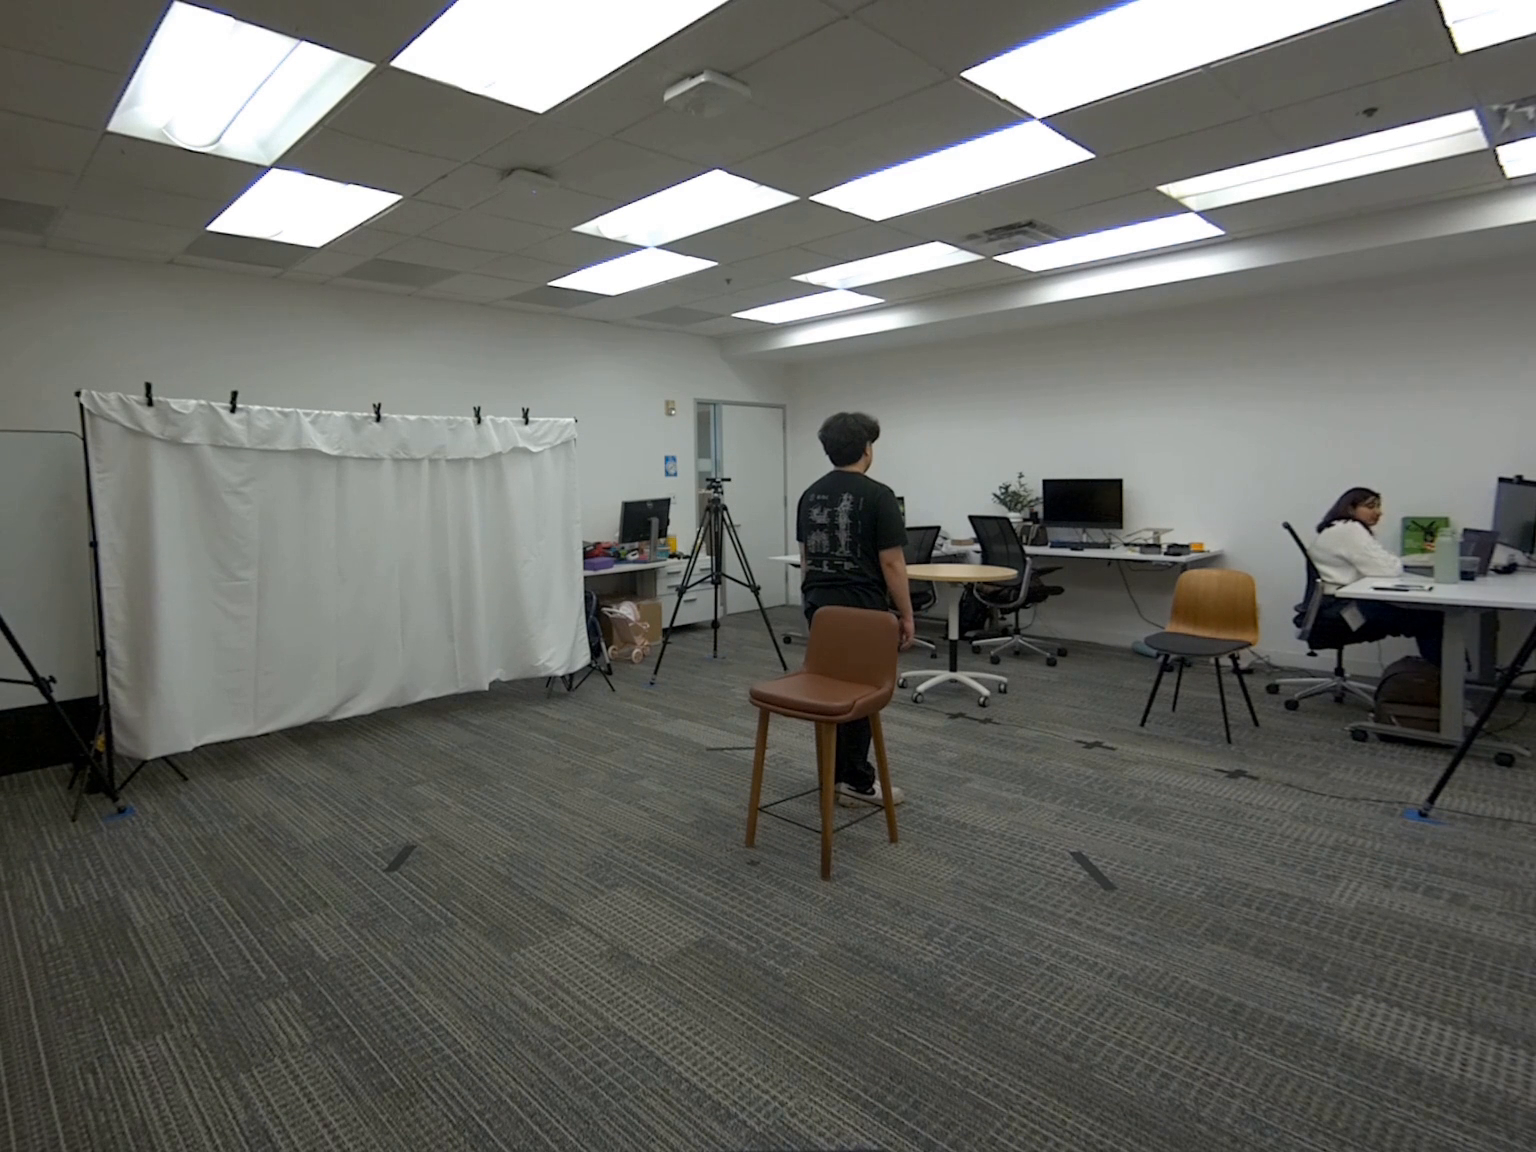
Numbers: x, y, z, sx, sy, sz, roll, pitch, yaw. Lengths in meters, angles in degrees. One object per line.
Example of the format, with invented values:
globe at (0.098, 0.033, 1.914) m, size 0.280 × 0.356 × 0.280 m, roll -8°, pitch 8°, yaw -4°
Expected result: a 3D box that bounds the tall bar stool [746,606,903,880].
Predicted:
tall bar stool at (0.212, 0.585, 3.229) m, size 0.454 × 0.888 × 0.470 m, roll -1°, pitch 3°, yaw -44°
